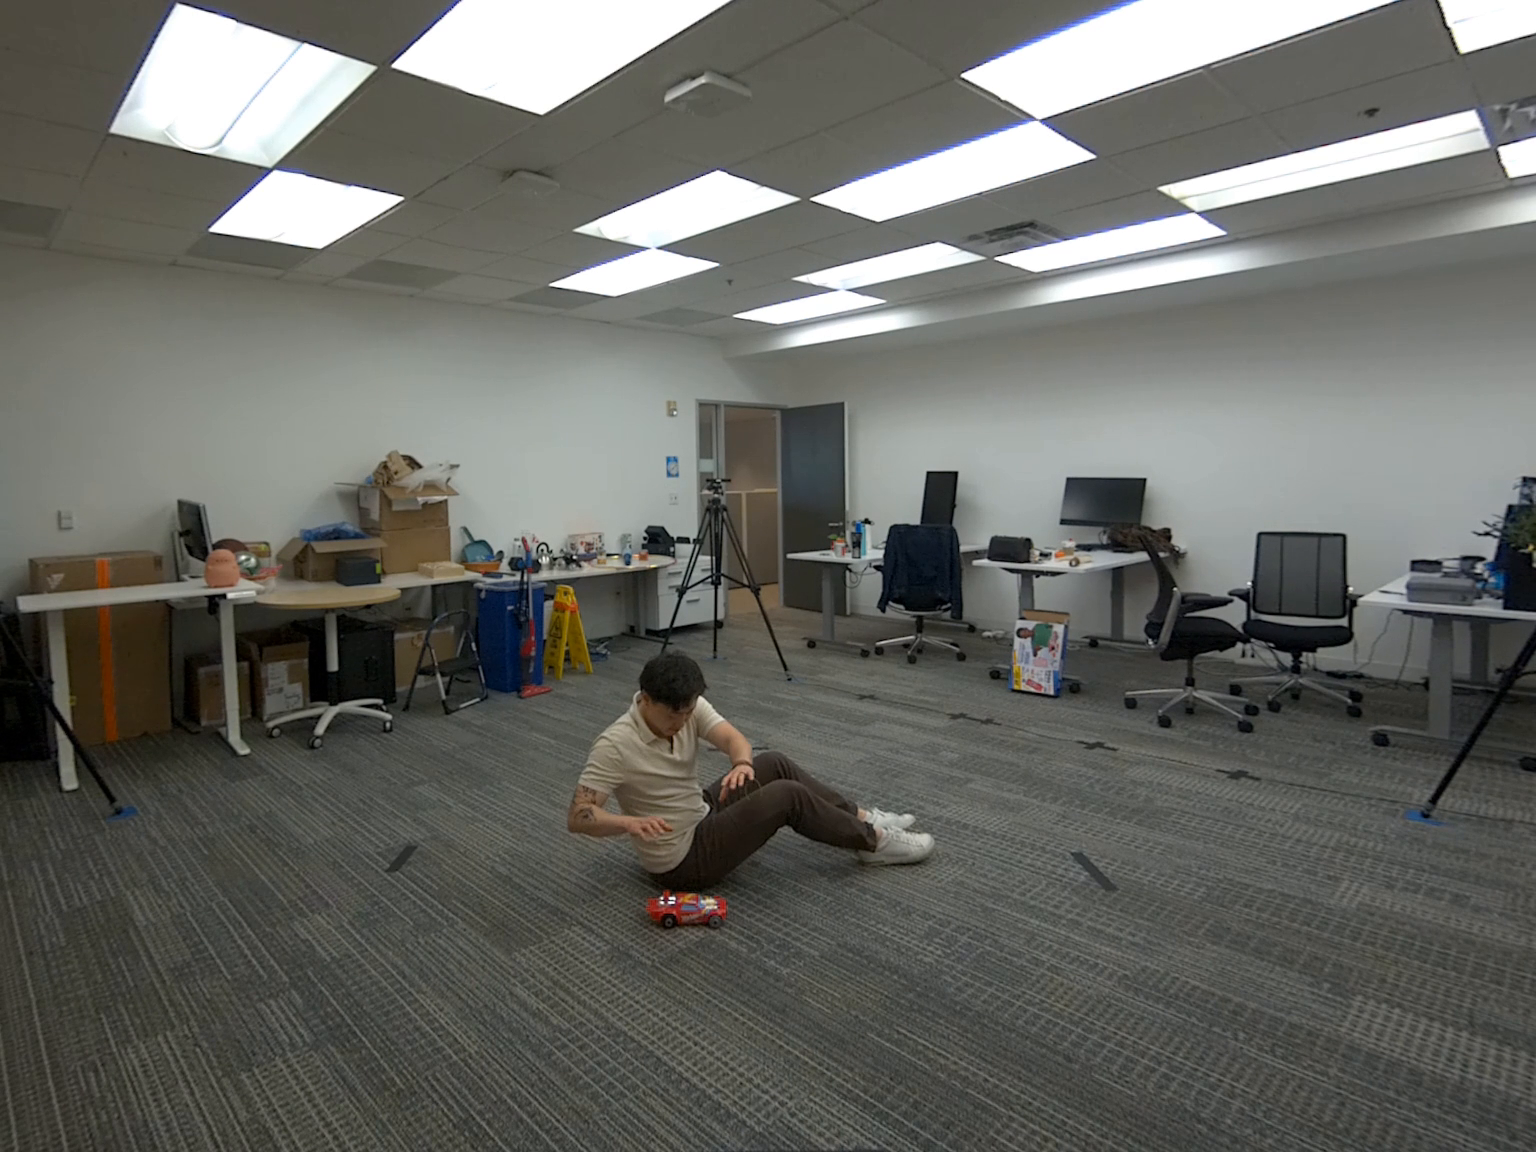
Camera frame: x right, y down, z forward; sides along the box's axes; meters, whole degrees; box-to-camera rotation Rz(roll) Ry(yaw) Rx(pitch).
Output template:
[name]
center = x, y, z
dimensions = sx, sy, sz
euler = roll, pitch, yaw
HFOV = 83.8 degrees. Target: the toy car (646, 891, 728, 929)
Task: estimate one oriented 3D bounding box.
[toy car]
center = -0.265, 1.065, 2.715
dimensions = 0.254, 0.083, 0.131
euler = 10, 5, -2
